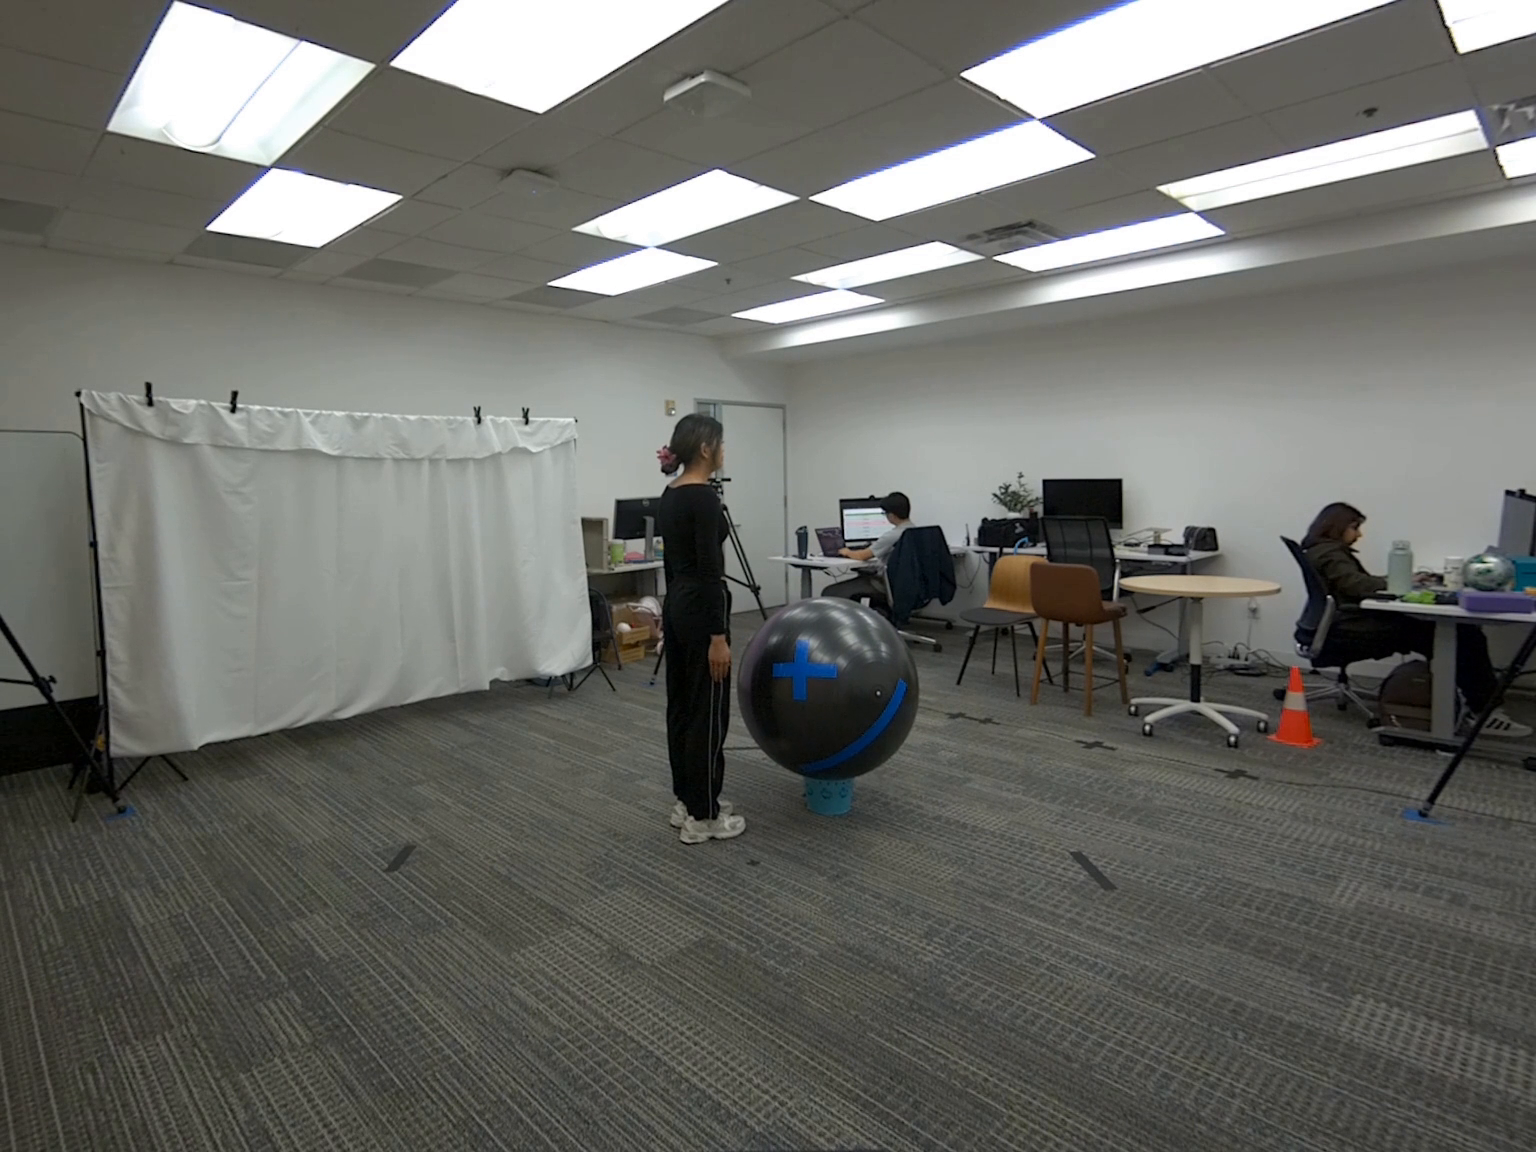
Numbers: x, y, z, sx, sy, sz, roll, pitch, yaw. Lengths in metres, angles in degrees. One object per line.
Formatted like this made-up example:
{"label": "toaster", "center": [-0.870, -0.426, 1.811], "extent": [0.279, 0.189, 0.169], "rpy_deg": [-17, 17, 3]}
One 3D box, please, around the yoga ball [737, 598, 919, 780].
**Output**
{"label": "yoga ball", "center": [0.254, 0.468, 3.602], "extent": [0.757, 0.755, 0.762], "rpy_deg": [-1, 5, -2]}
